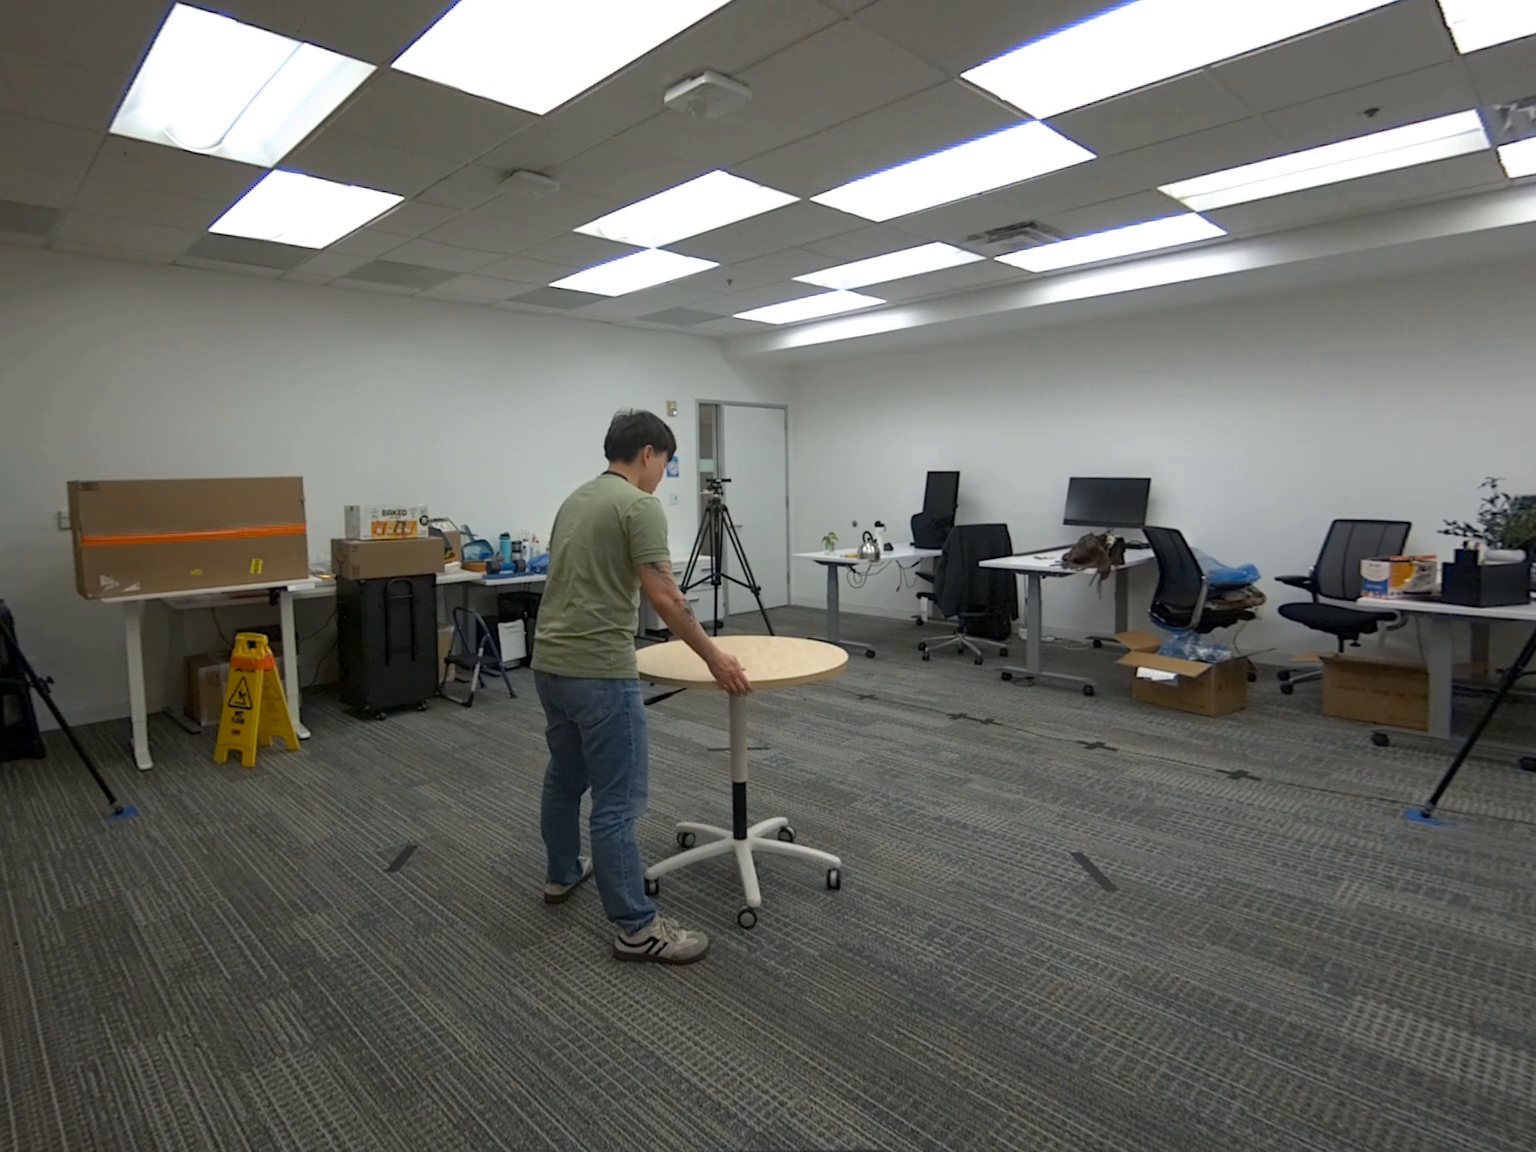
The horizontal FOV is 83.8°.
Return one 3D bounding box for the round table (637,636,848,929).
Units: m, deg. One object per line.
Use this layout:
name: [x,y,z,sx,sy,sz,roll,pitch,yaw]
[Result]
round table: [-0.104,0.668,2.988,0.763,0.791,0.768,-1,5,-2]
